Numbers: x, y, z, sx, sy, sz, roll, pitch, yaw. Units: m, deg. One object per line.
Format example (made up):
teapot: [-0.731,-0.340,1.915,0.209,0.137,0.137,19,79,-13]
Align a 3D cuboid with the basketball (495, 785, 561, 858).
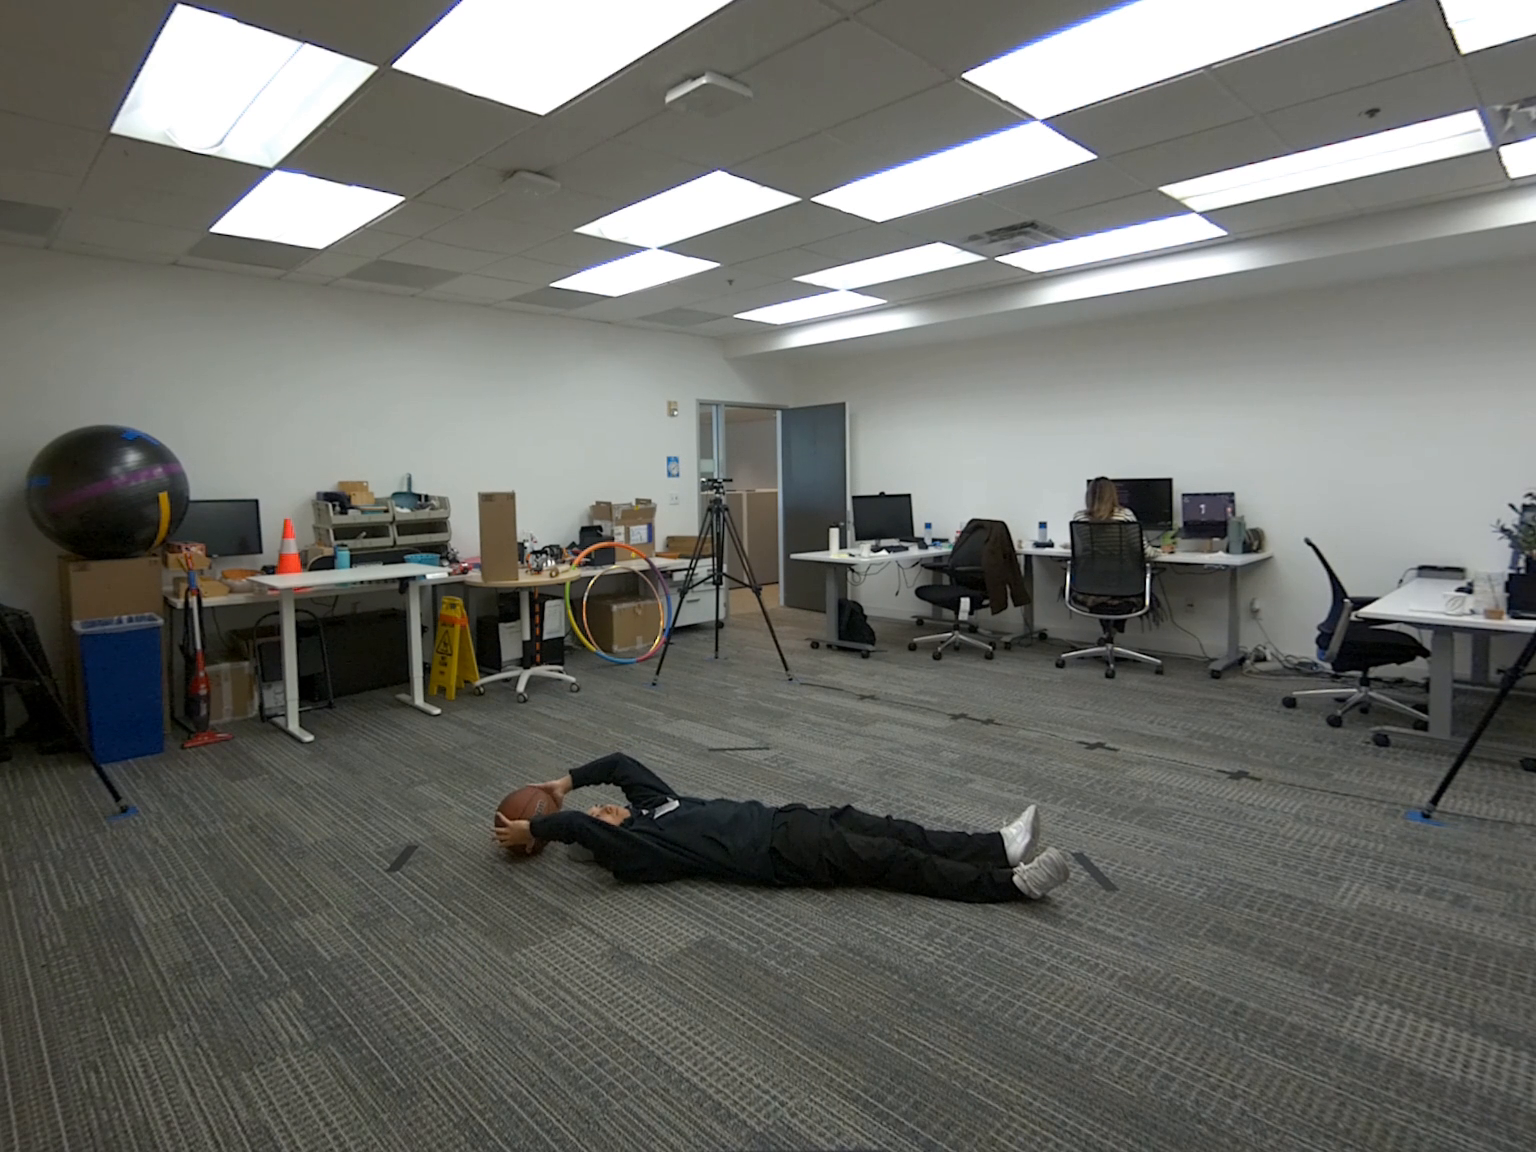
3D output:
basketball: [-0.917,0.924,3.245,0.236,0.235,0.237,-1,5,-2]
